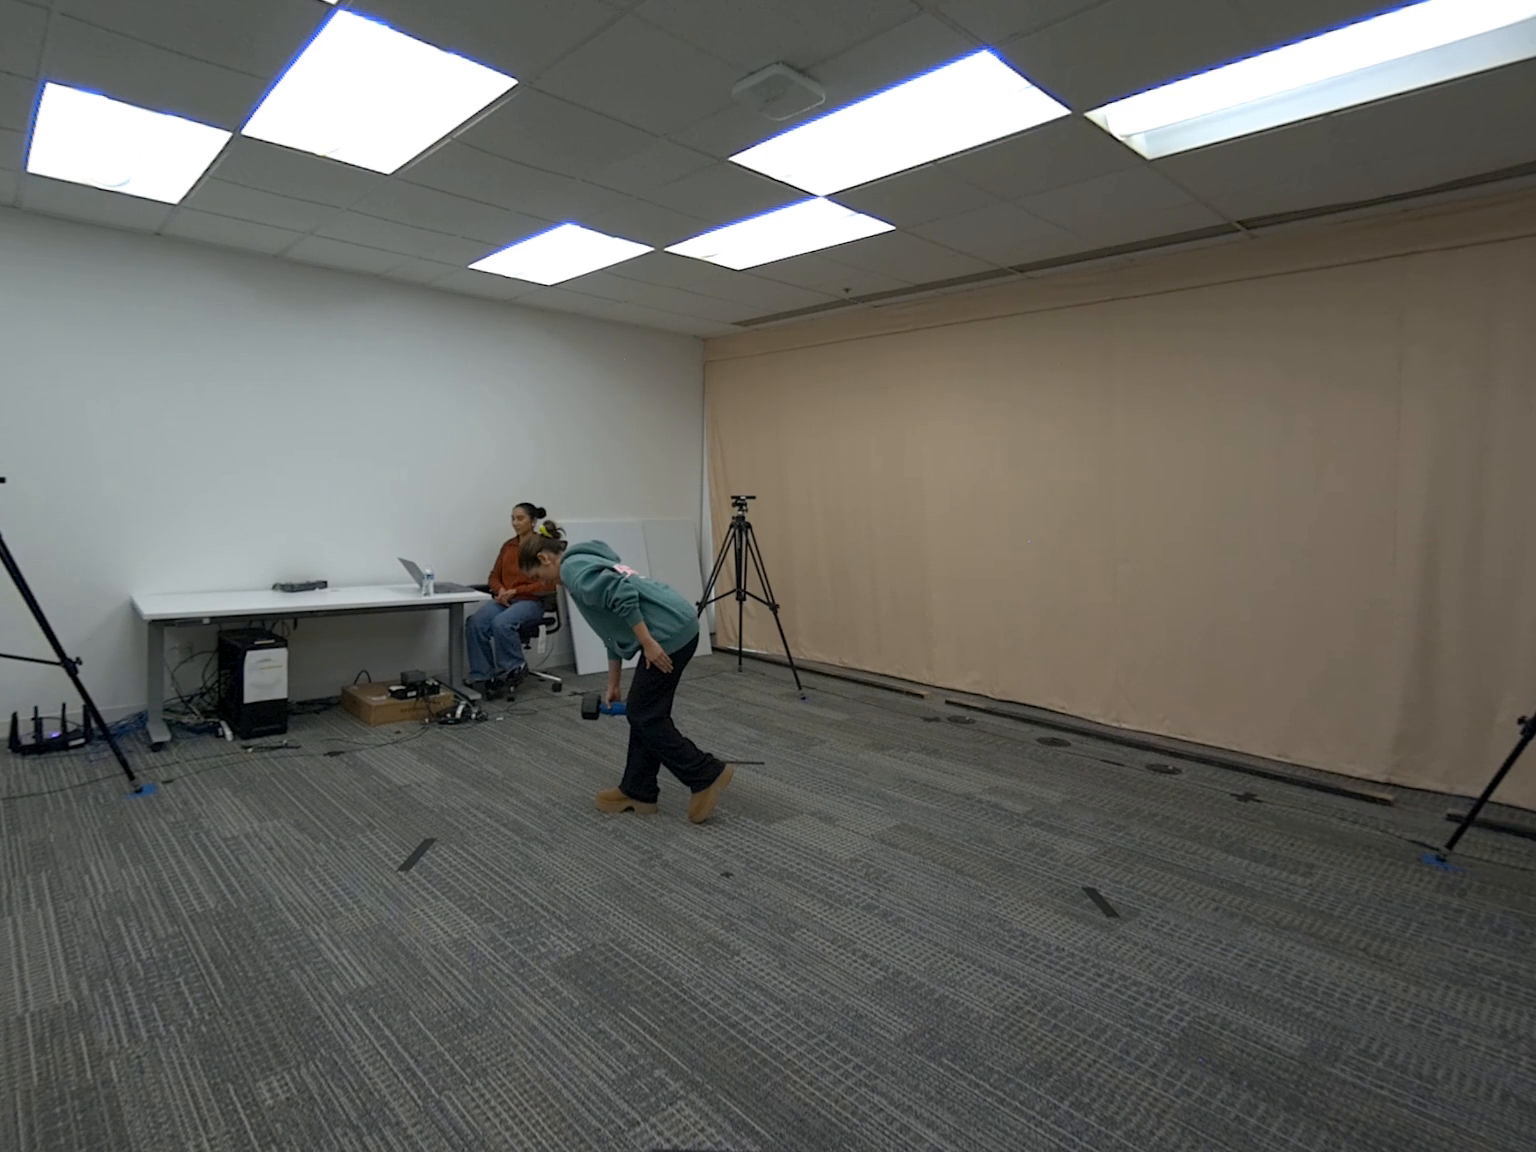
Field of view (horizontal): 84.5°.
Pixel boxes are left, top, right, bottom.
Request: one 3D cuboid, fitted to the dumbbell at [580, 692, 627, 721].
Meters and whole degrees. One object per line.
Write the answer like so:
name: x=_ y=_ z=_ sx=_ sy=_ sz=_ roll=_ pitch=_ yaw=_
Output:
dumbbell: x=-0.713 y=0.607 z=3.862 sx=0.293 sy=0.124 sz=0.107 roll=5 pitch=-17 yaw=-2
